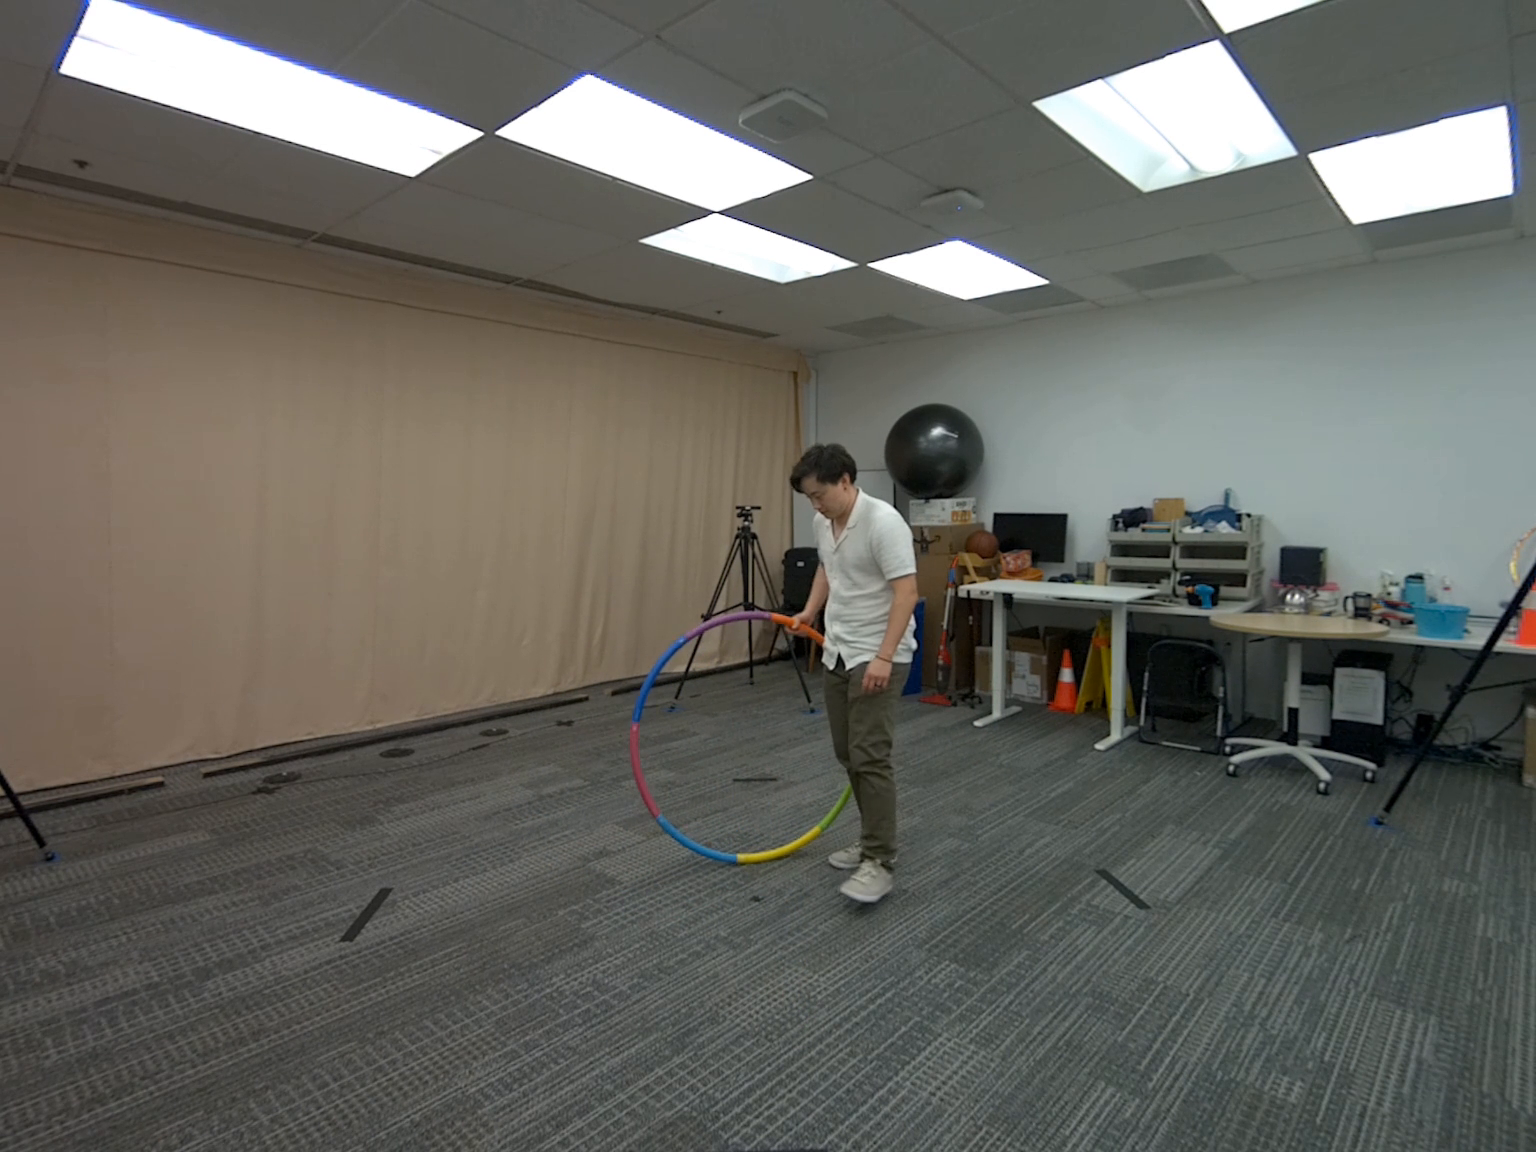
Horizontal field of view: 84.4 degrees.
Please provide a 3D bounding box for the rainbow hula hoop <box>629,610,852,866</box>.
[{"bbox_3d":[-0.065,0.633,3.326,0.961,0.981,0.036,-1,-4,-17],"label":"rainbow hula hoop"}]
